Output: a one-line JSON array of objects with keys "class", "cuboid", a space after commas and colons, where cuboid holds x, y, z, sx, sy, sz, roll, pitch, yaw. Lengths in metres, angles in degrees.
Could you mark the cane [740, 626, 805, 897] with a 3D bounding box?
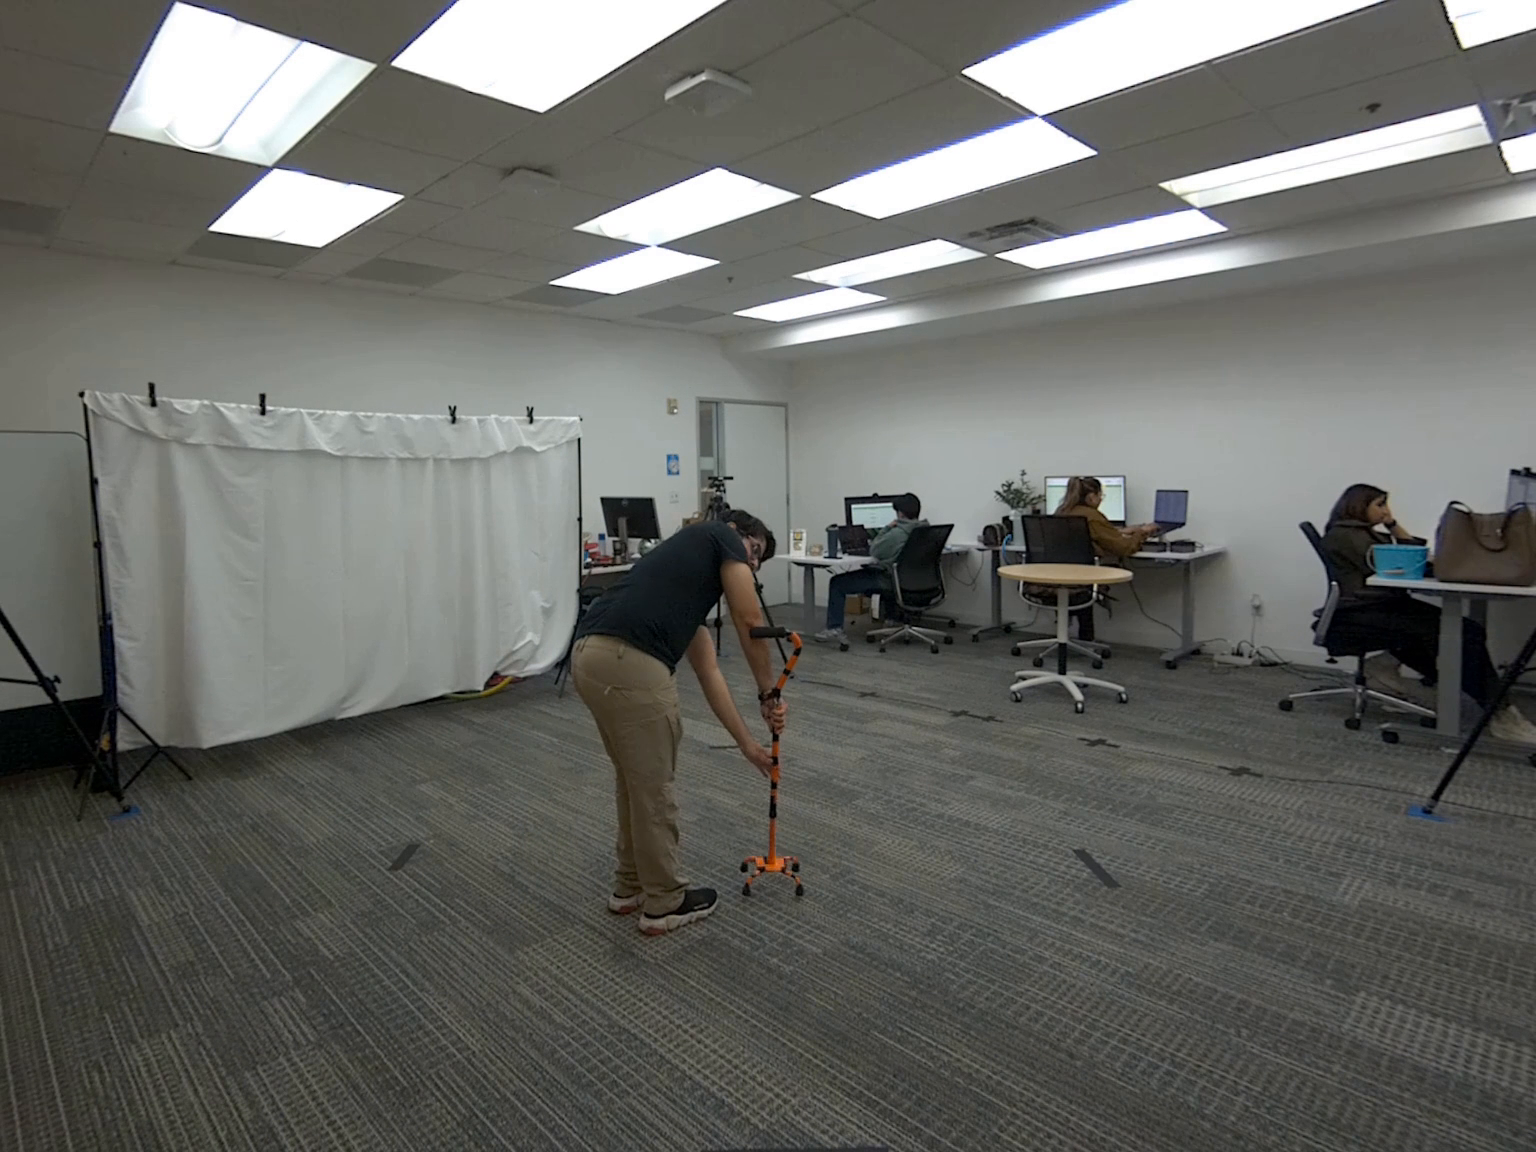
[{"class": "cane", "cuboid": [0.019, 0.595, 2.777, 0.206, 0.897, 0.154, 0, 13, -3]}]
